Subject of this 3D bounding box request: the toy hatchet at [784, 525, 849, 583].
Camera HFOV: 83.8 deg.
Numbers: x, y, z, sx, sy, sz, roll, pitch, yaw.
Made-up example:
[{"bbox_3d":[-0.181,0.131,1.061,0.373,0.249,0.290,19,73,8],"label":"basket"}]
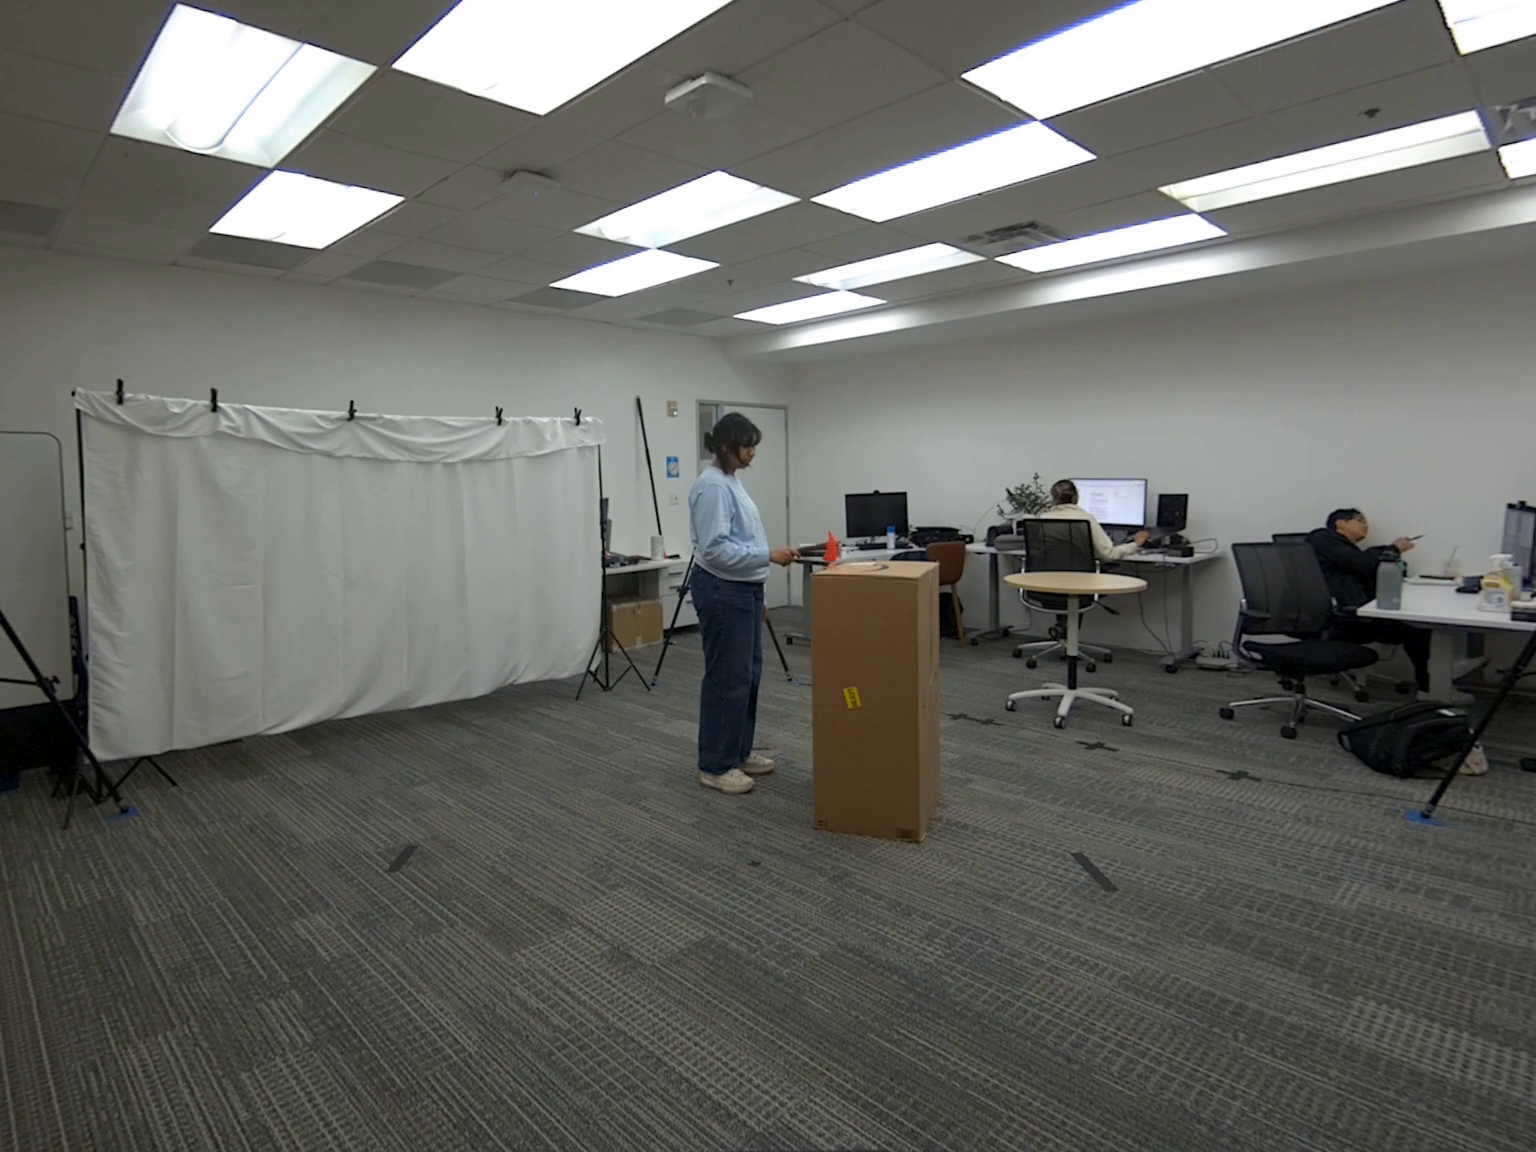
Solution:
[{"bbox_3d":[0.190,-0.097,3.686,0.271,0.130,0.029,-27,4,8],"label":"toy hatchet"}]
